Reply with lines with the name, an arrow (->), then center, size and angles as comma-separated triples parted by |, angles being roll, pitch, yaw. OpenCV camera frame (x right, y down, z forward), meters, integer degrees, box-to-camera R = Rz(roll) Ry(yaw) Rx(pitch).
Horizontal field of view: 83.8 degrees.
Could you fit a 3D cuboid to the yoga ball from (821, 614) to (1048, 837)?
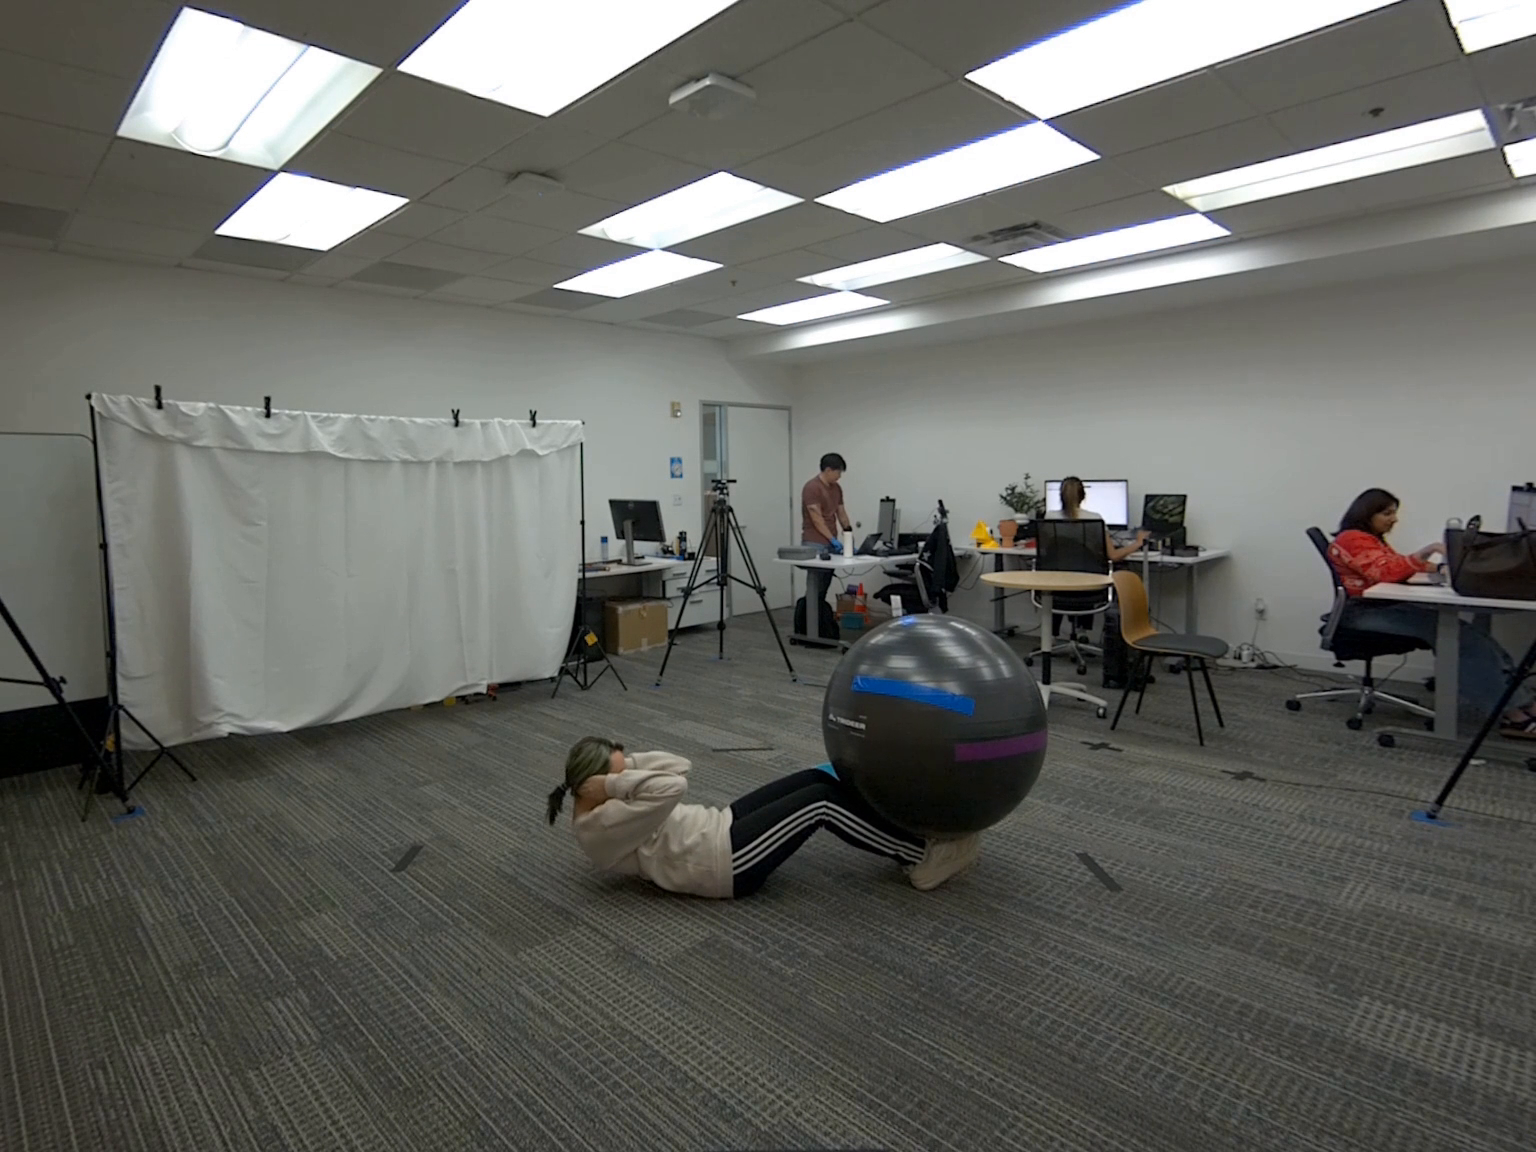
yoga ball -> 0.575, 0.513, 2.982 | 0.757, 0.755, 0.762 | -1, 5, -2
